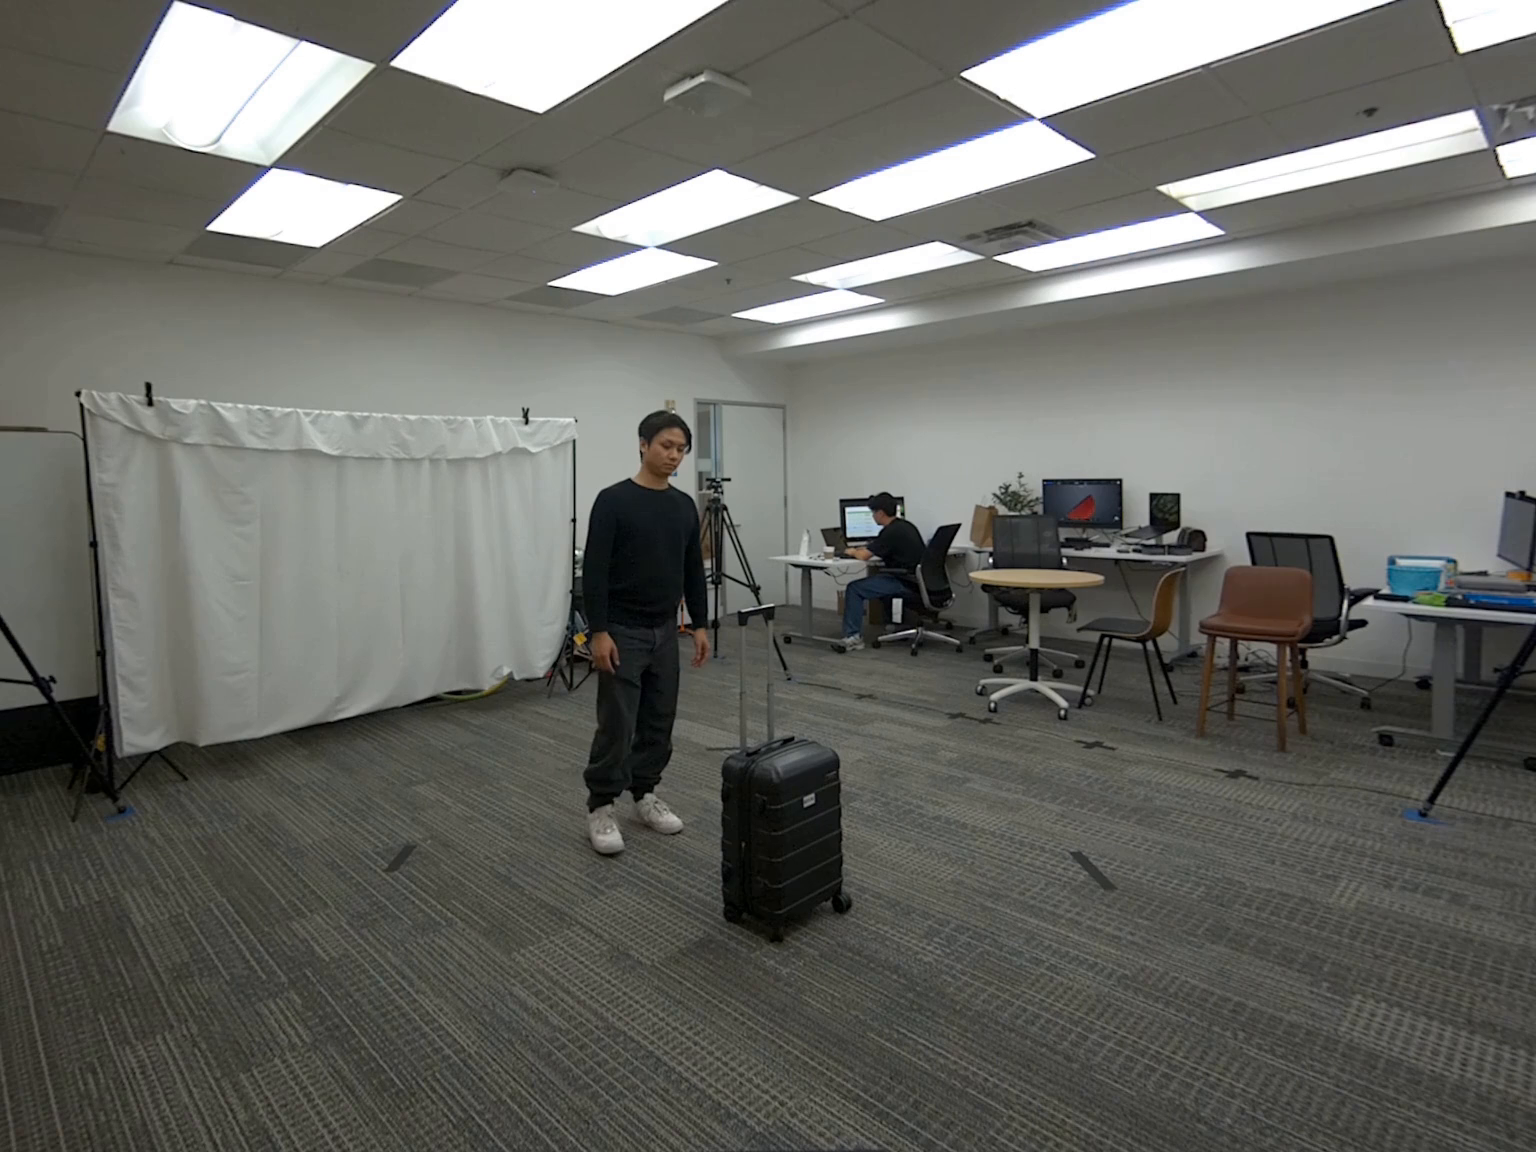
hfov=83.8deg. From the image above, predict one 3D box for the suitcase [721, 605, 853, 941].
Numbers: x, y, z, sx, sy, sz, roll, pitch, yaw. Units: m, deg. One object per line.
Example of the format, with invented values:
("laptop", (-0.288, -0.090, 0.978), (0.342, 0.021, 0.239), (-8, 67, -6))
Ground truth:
("suitcase", (0.052, 0.607, 2.705), (0.265, 0.973, 0.374), (5, 8, 43))
